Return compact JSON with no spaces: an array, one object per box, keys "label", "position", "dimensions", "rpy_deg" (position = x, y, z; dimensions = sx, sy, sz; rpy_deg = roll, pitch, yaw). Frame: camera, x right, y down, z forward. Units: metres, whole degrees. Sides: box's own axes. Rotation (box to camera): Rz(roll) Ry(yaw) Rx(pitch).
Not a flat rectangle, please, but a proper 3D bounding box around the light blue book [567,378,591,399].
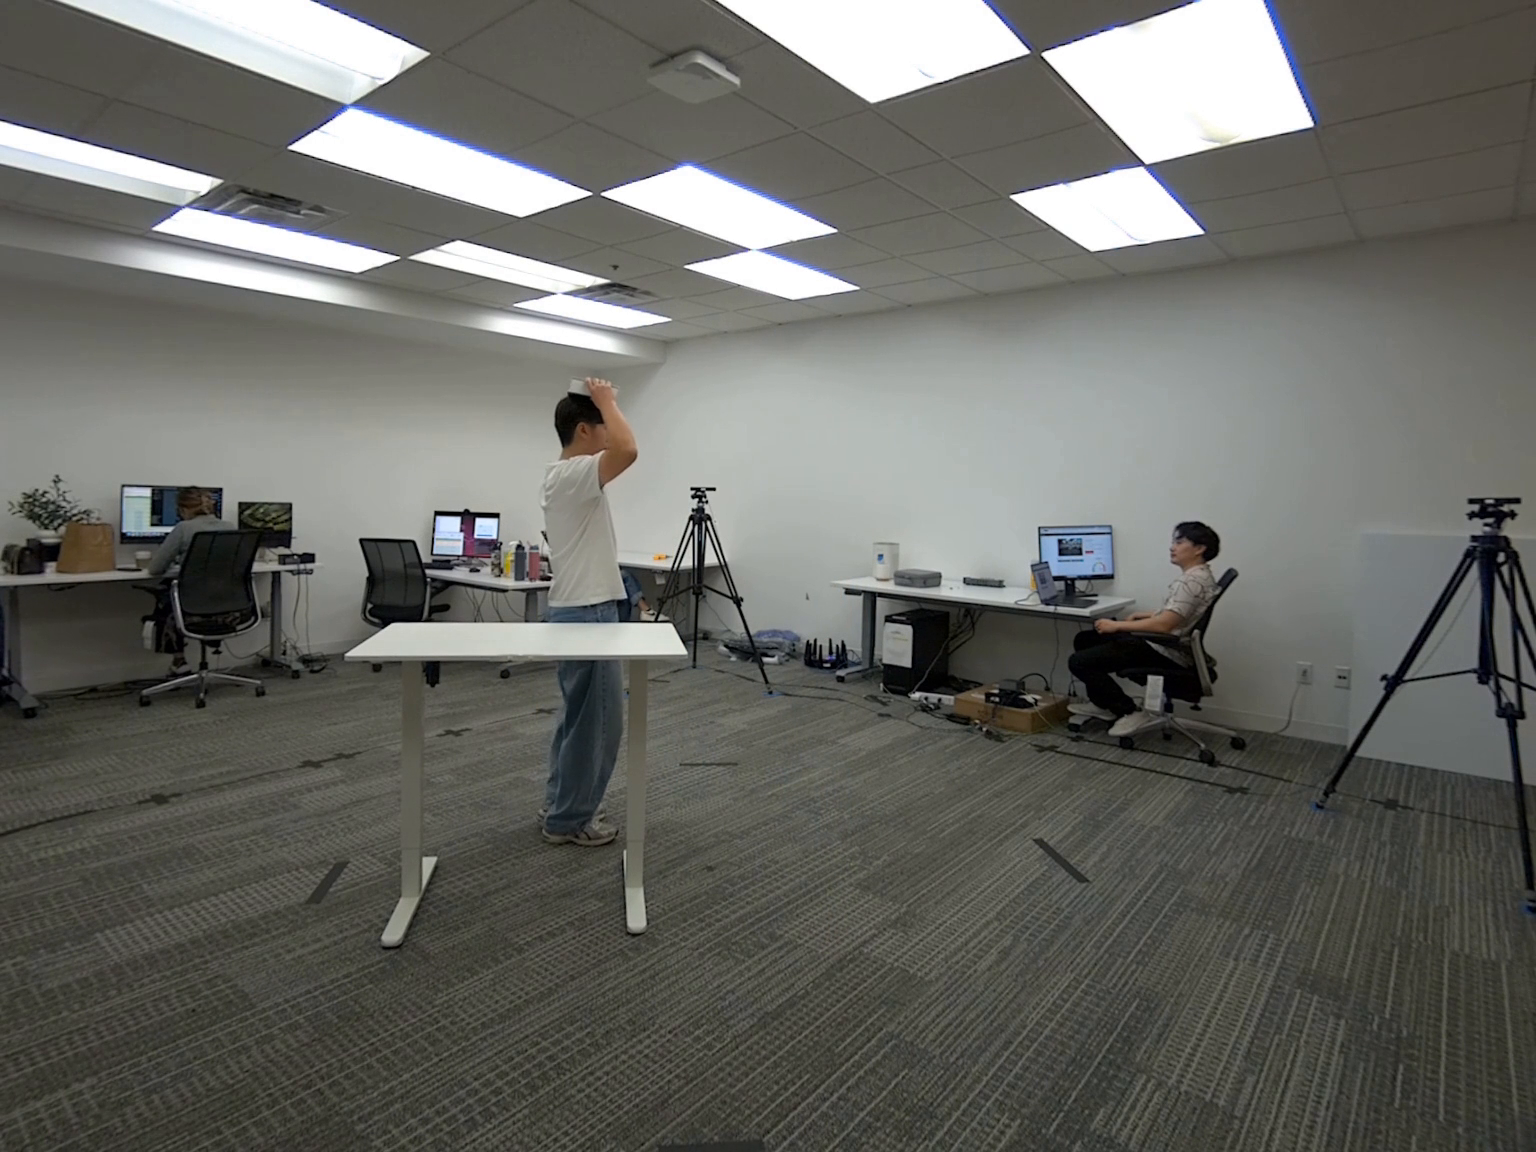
[{"label":"light blue book","position":[-0.694,-0.713,3.347],"dimensions":[0.188,0.059,0.265],"rpy_deg":[10,1,-13]}]
